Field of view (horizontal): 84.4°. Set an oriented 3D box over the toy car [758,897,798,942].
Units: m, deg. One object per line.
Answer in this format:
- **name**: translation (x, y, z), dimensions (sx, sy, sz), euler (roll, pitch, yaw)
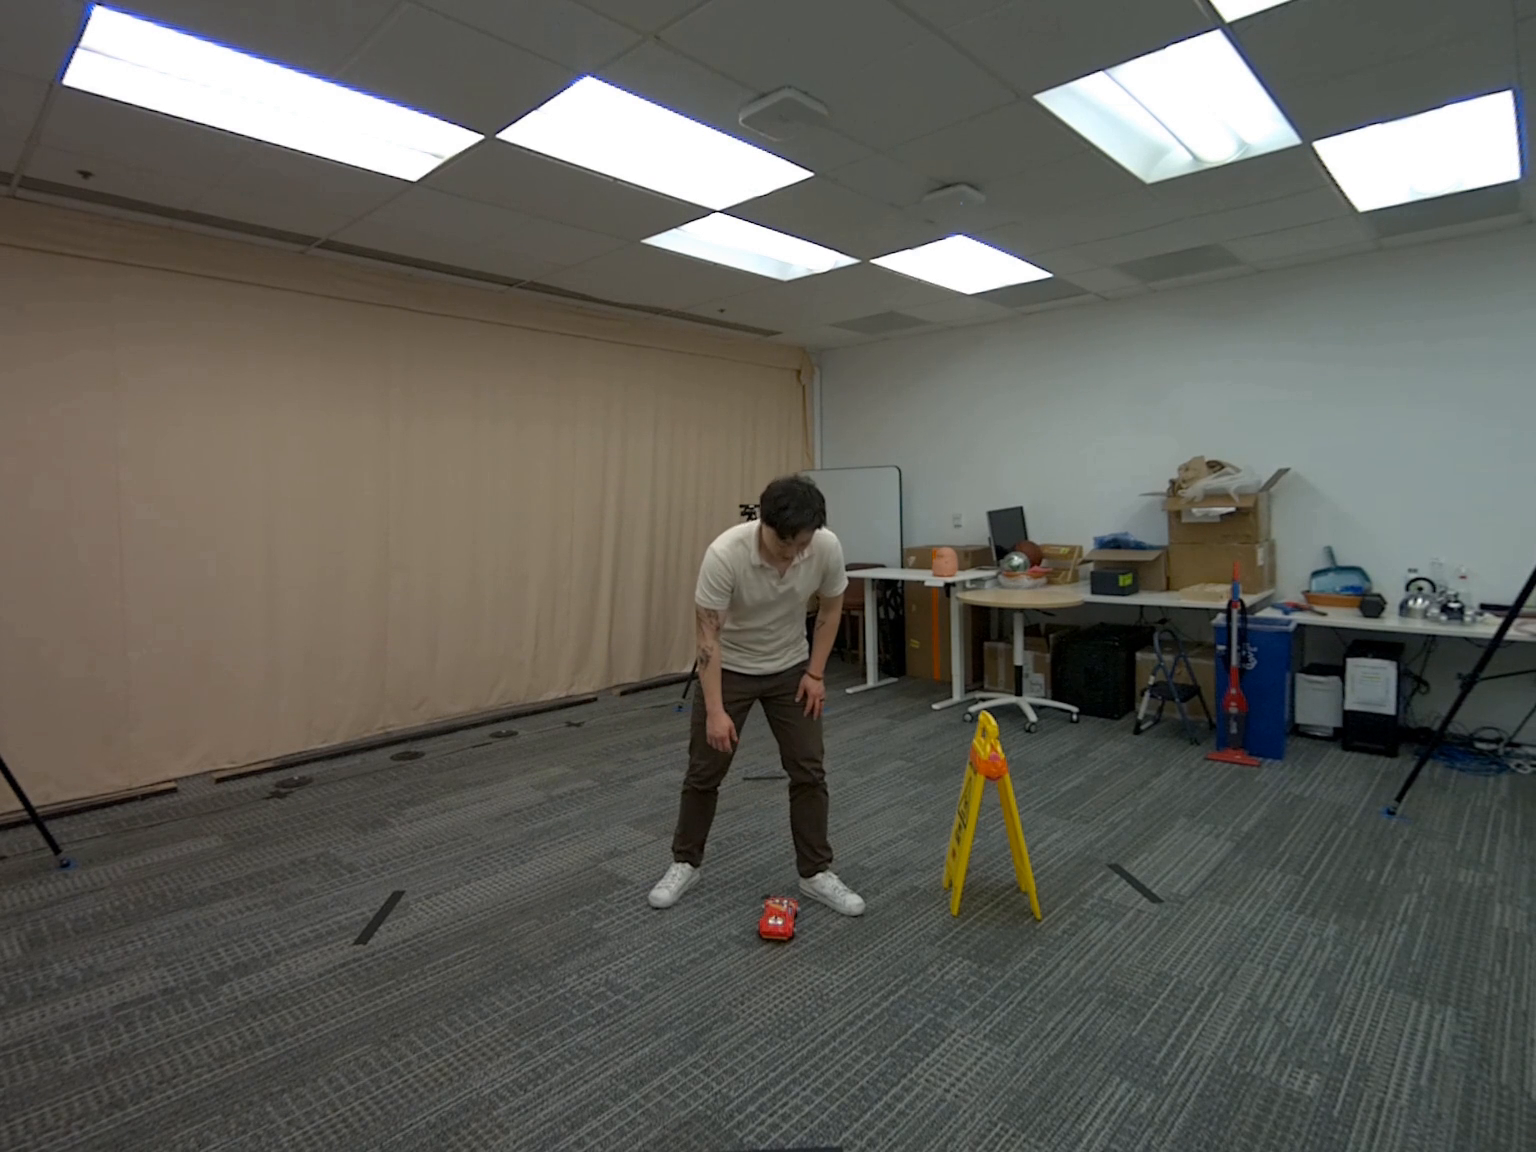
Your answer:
- **toy car**: translation (0.033, 1.130, 2.751), dimensions (0.132, 0.083, 0.250), euler (0, -6, 9)
